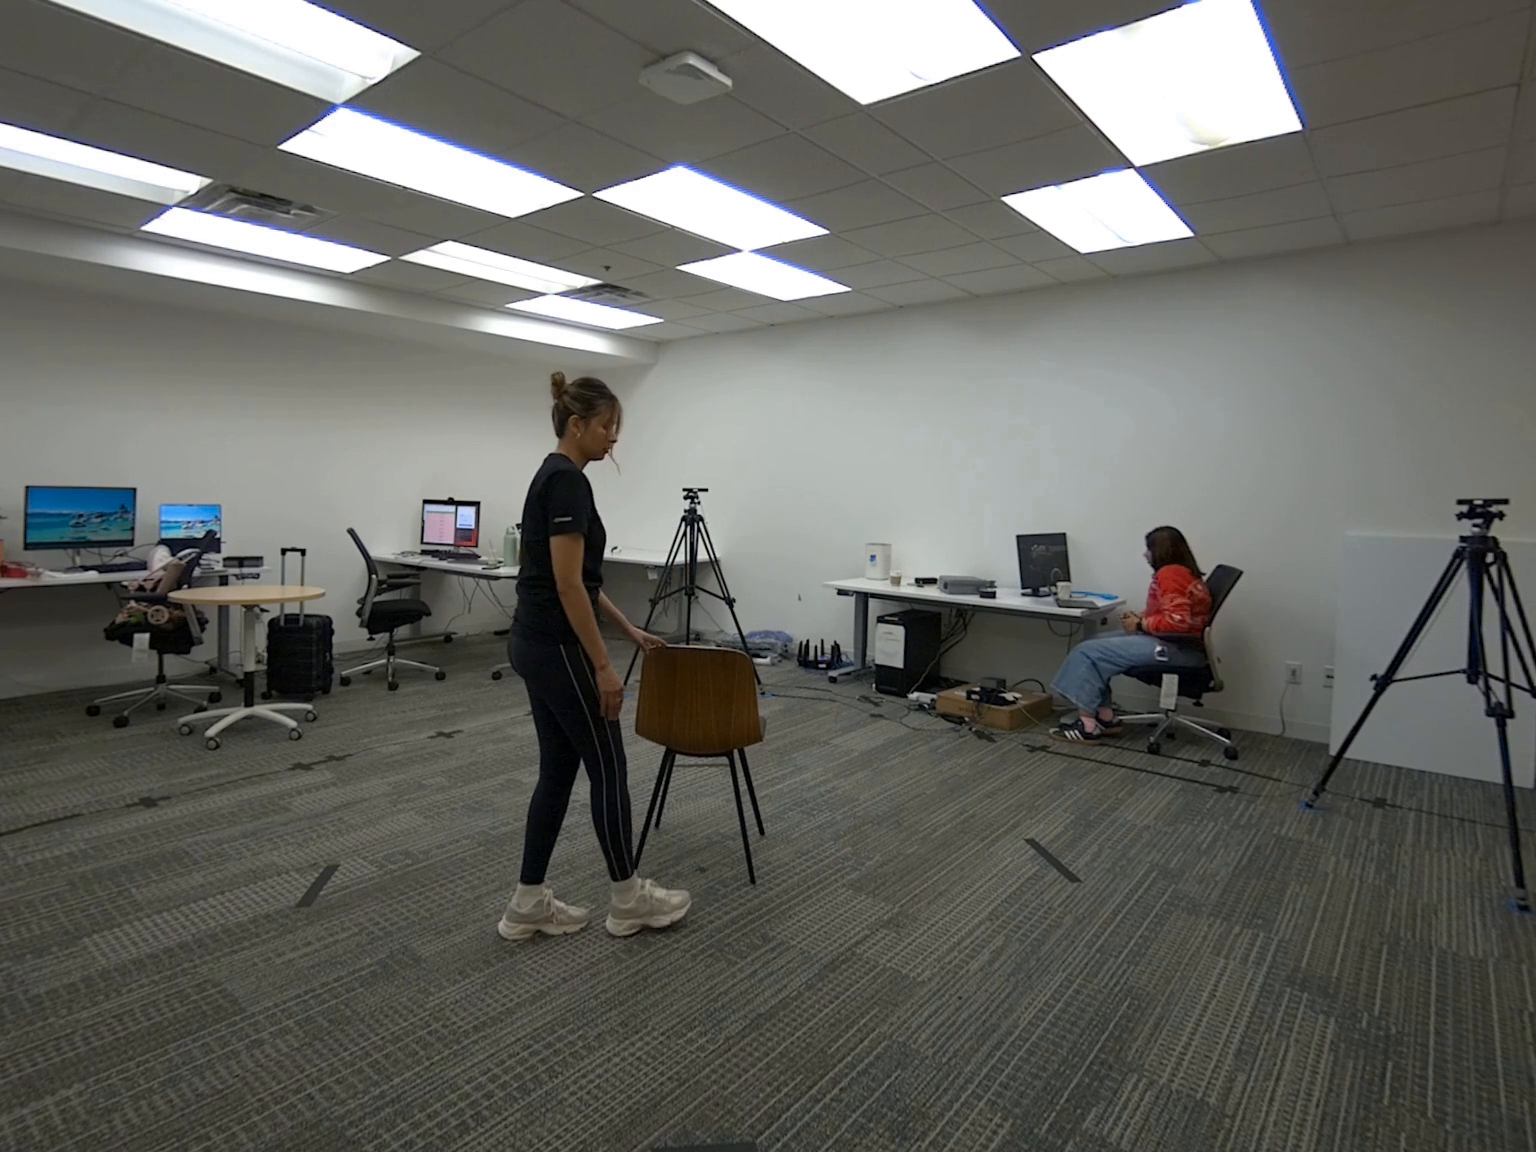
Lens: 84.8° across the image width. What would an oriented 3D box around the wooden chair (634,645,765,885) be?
[{"bbox_3d":[-0.257,0.629,3.227,0.482,0.871,0.523,1,7,6],"label":"wooden chair"}]
